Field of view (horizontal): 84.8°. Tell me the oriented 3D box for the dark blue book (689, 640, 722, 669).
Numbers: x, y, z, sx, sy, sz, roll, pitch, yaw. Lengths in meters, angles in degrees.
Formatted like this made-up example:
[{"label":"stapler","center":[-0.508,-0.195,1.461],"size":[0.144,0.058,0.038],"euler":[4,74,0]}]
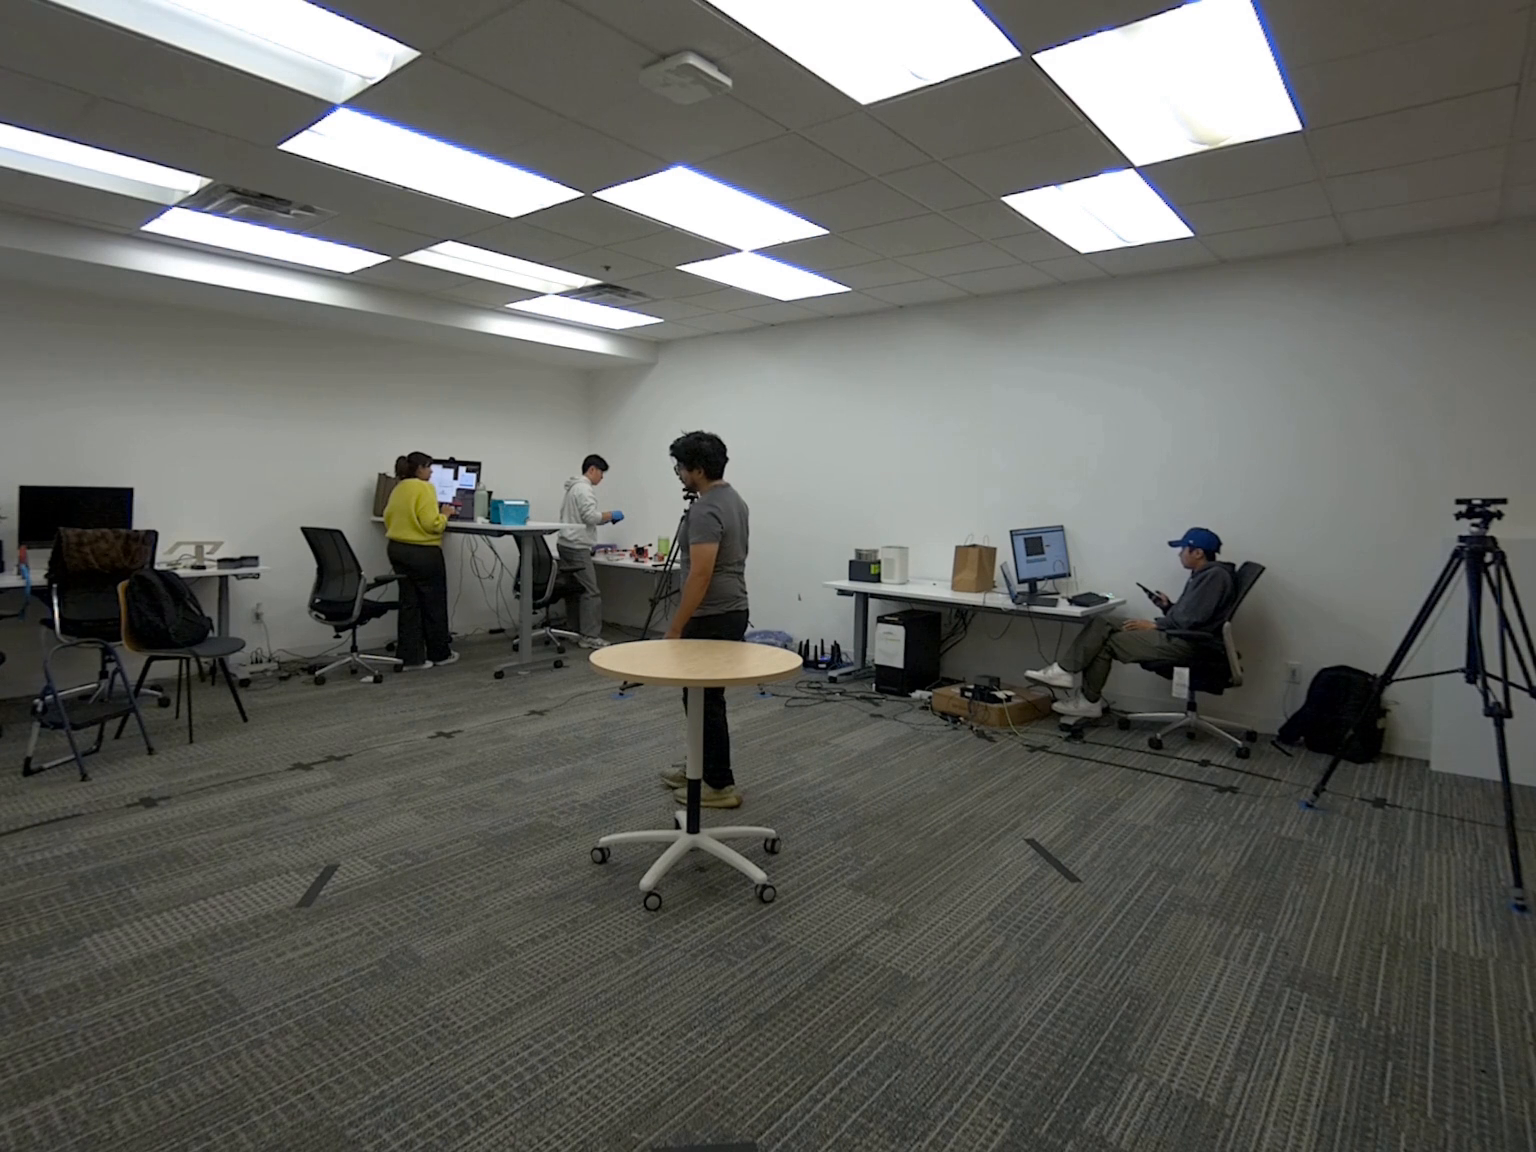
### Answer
[{"label":"dark blue book","center":[-0.300,0.313,4.083],"size":[0.043,0.246,0.168],"euler":[12,-9,-42]}]
